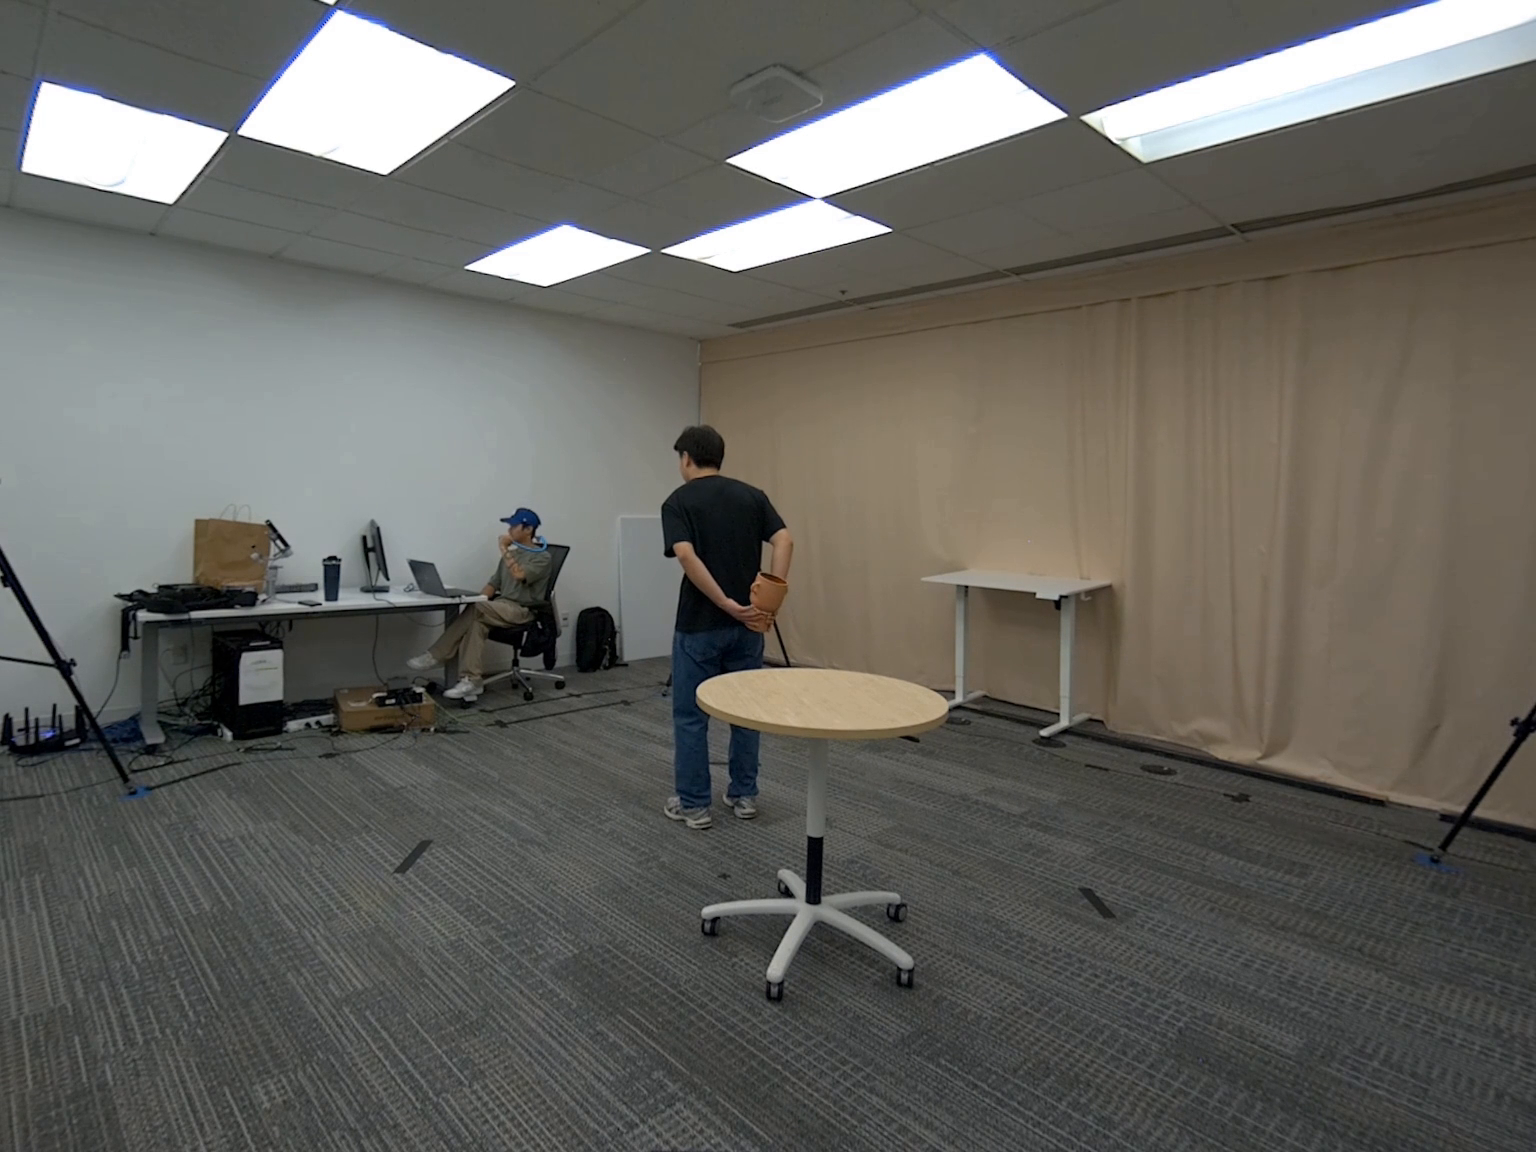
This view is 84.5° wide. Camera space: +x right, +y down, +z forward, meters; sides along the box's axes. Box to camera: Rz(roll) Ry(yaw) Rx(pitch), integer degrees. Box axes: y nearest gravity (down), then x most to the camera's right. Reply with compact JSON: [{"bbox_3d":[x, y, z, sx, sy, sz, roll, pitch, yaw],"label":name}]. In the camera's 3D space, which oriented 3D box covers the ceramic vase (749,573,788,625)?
[{"bbox_3d":[-0.034,0.107,3.434,0.158,0.218,0.136,18,12,-5],"label":"ceramic vase"}]
